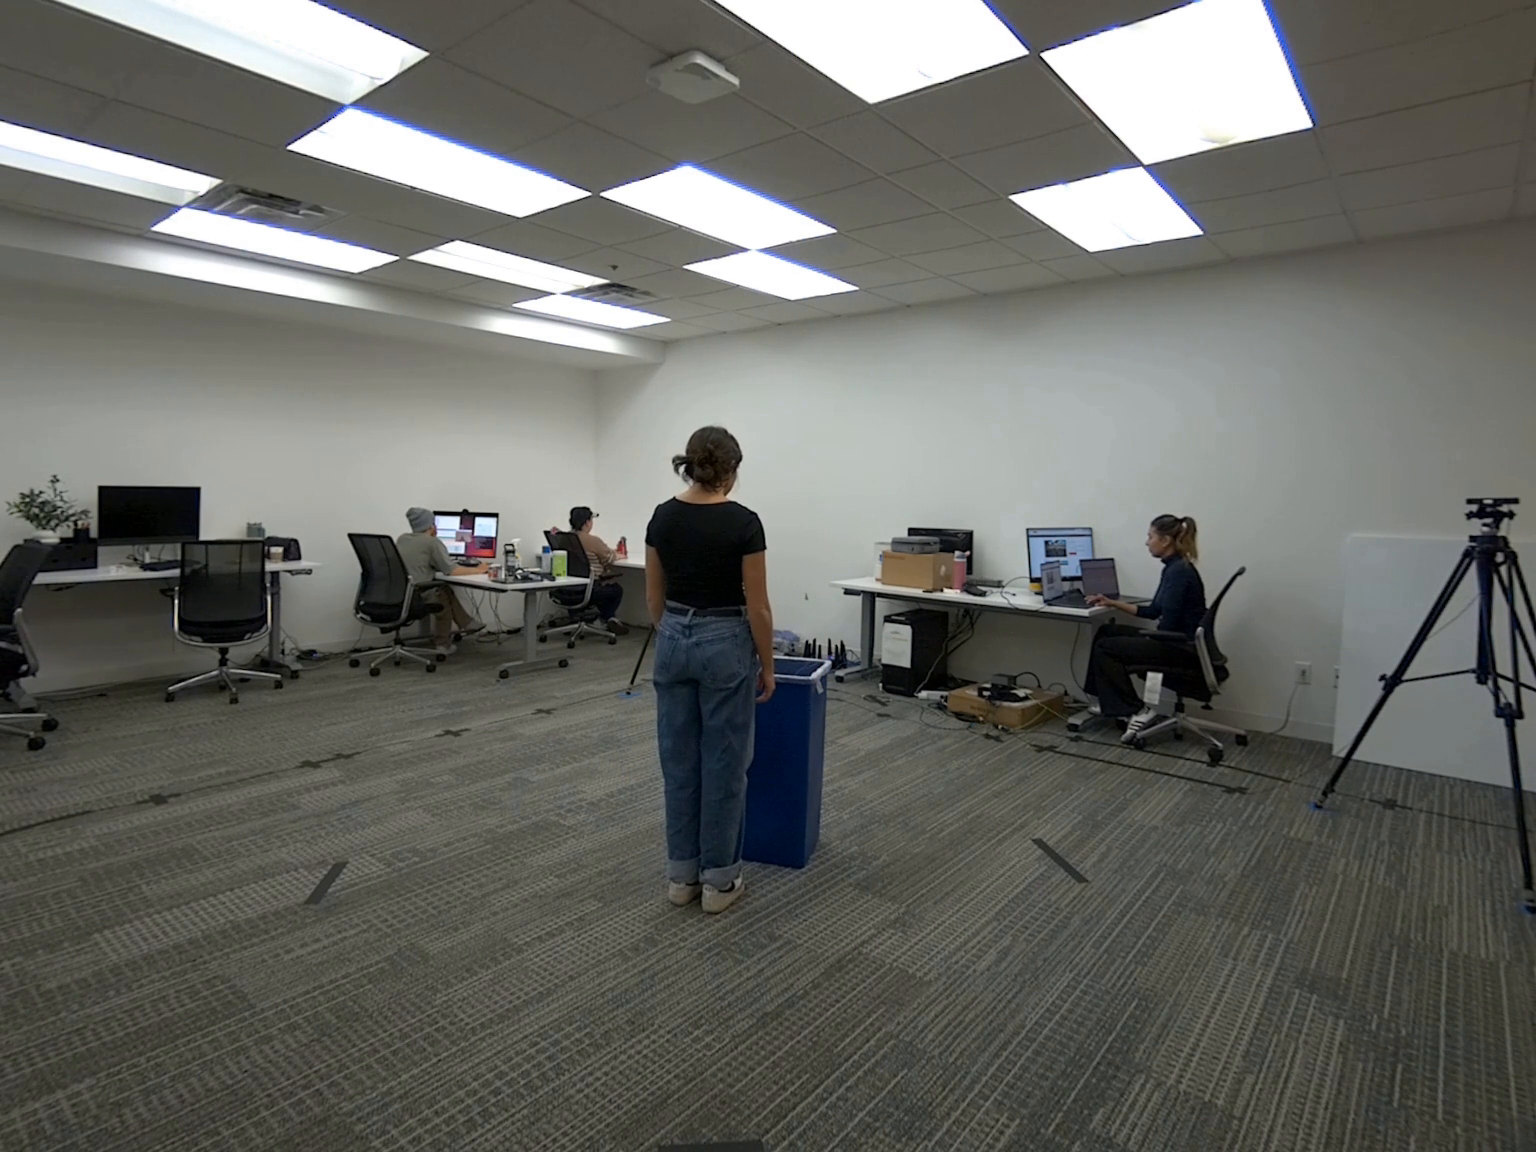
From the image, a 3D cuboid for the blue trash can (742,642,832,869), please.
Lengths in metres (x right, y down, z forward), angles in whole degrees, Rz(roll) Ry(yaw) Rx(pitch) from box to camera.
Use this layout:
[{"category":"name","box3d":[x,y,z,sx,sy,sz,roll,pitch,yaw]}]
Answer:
[{"category":"blue trash can","box3d":[0.018,0.694,3.290,0.381,0.712,0.372,2,3,17]}]
